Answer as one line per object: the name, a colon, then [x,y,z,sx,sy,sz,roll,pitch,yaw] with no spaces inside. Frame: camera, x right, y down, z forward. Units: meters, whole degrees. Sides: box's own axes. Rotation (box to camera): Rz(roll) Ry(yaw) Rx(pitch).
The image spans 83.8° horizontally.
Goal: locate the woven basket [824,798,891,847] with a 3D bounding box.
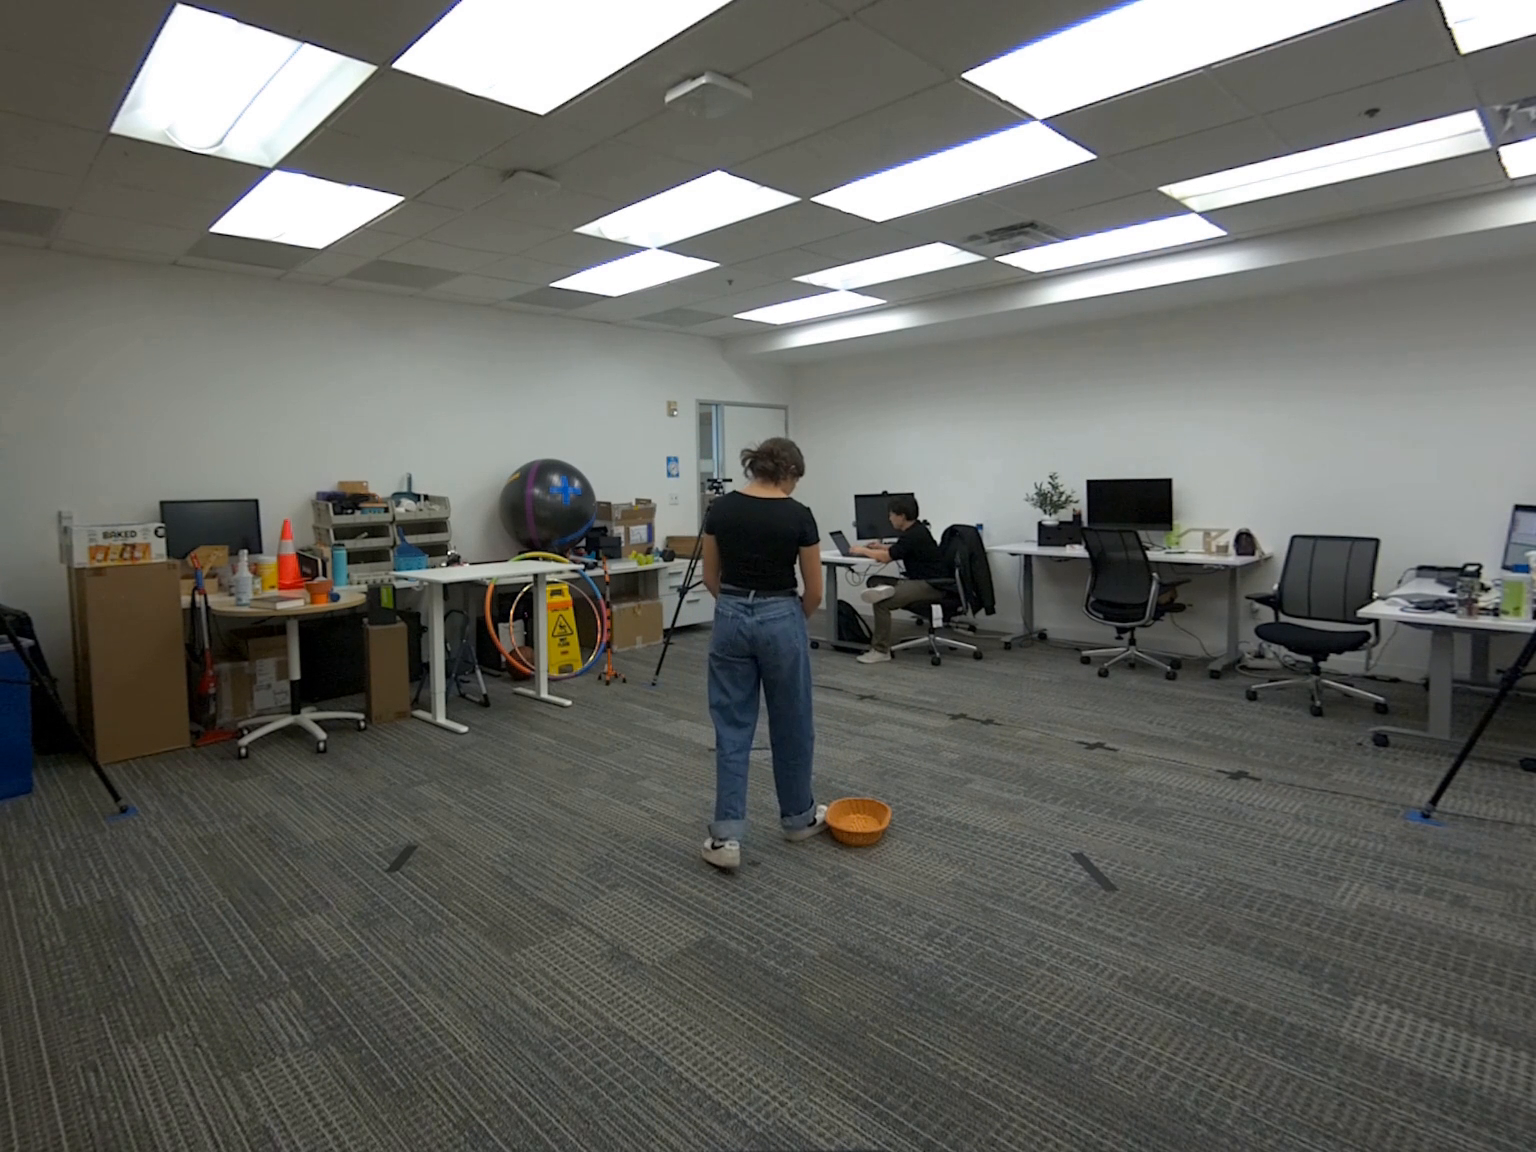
woven basket: [0.349,0.964,3.368,0.257,0.073,0.345,3,7,19]
